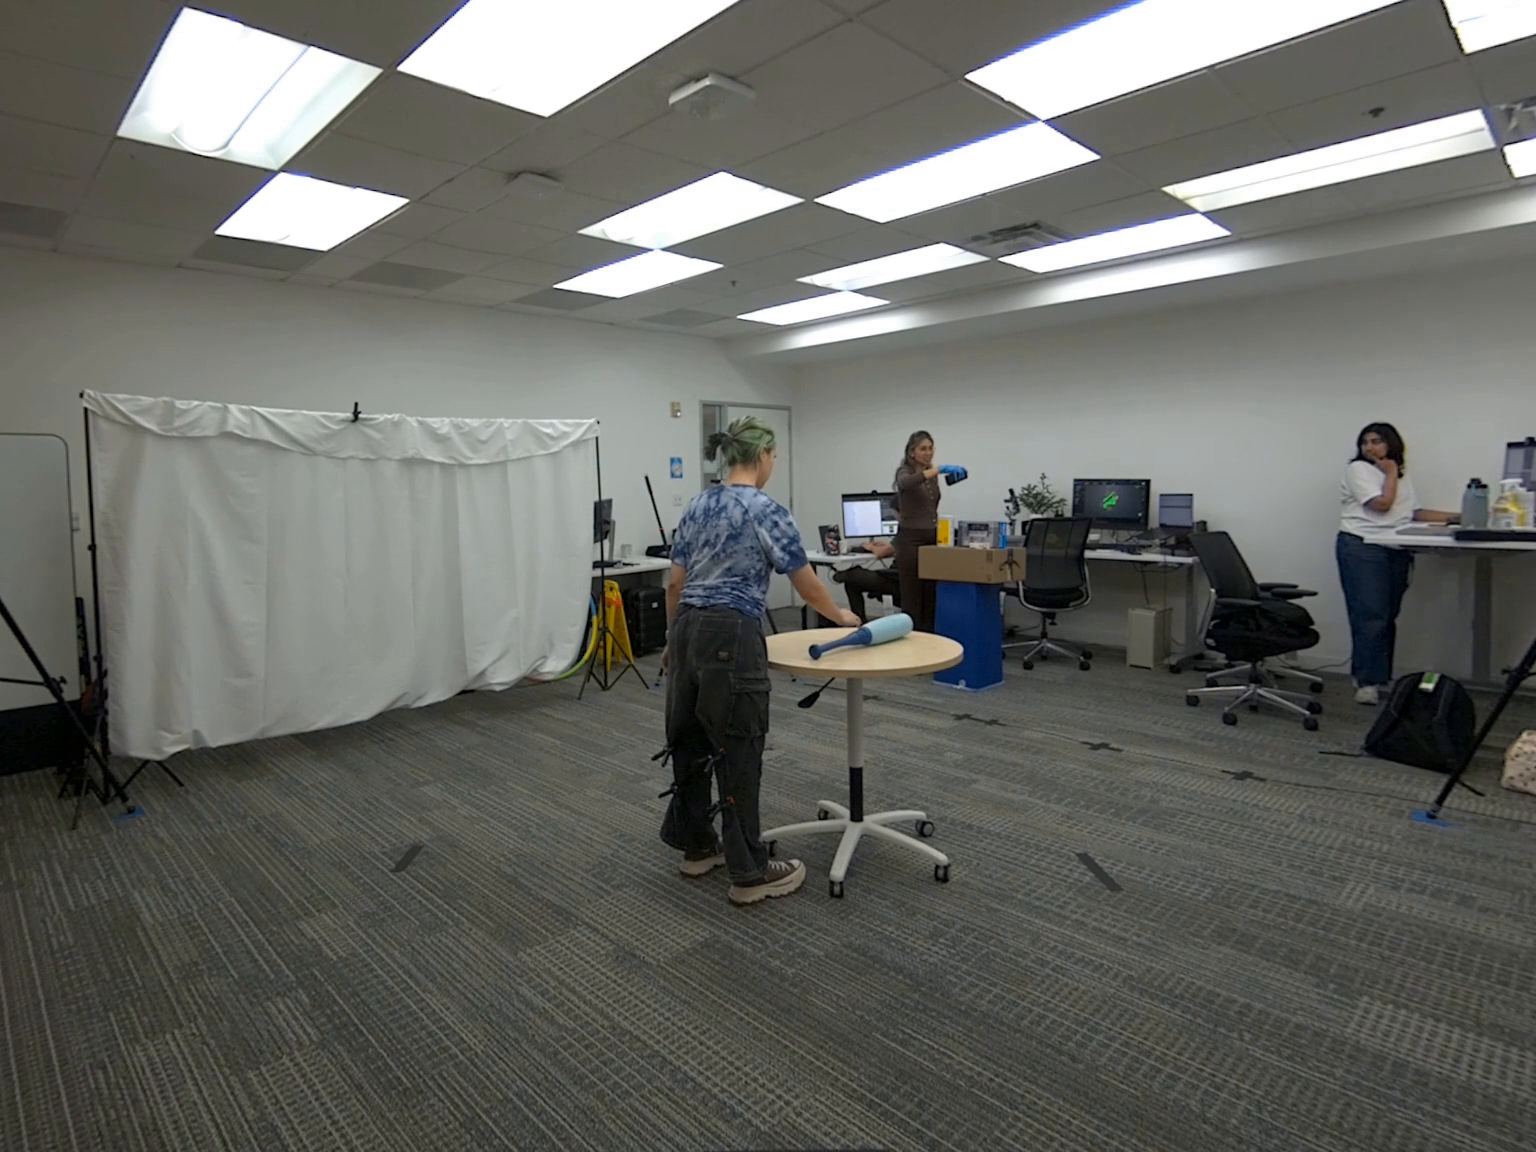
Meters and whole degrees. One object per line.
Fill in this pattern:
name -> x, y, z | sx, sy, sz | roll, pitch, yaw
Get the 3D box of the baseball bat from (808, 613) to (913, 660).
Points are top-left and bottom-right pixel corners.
baseball bat -> 0.338, 0.225, 3.072 | 0.092, 0.088, 0.530 | 4, 11, 45
